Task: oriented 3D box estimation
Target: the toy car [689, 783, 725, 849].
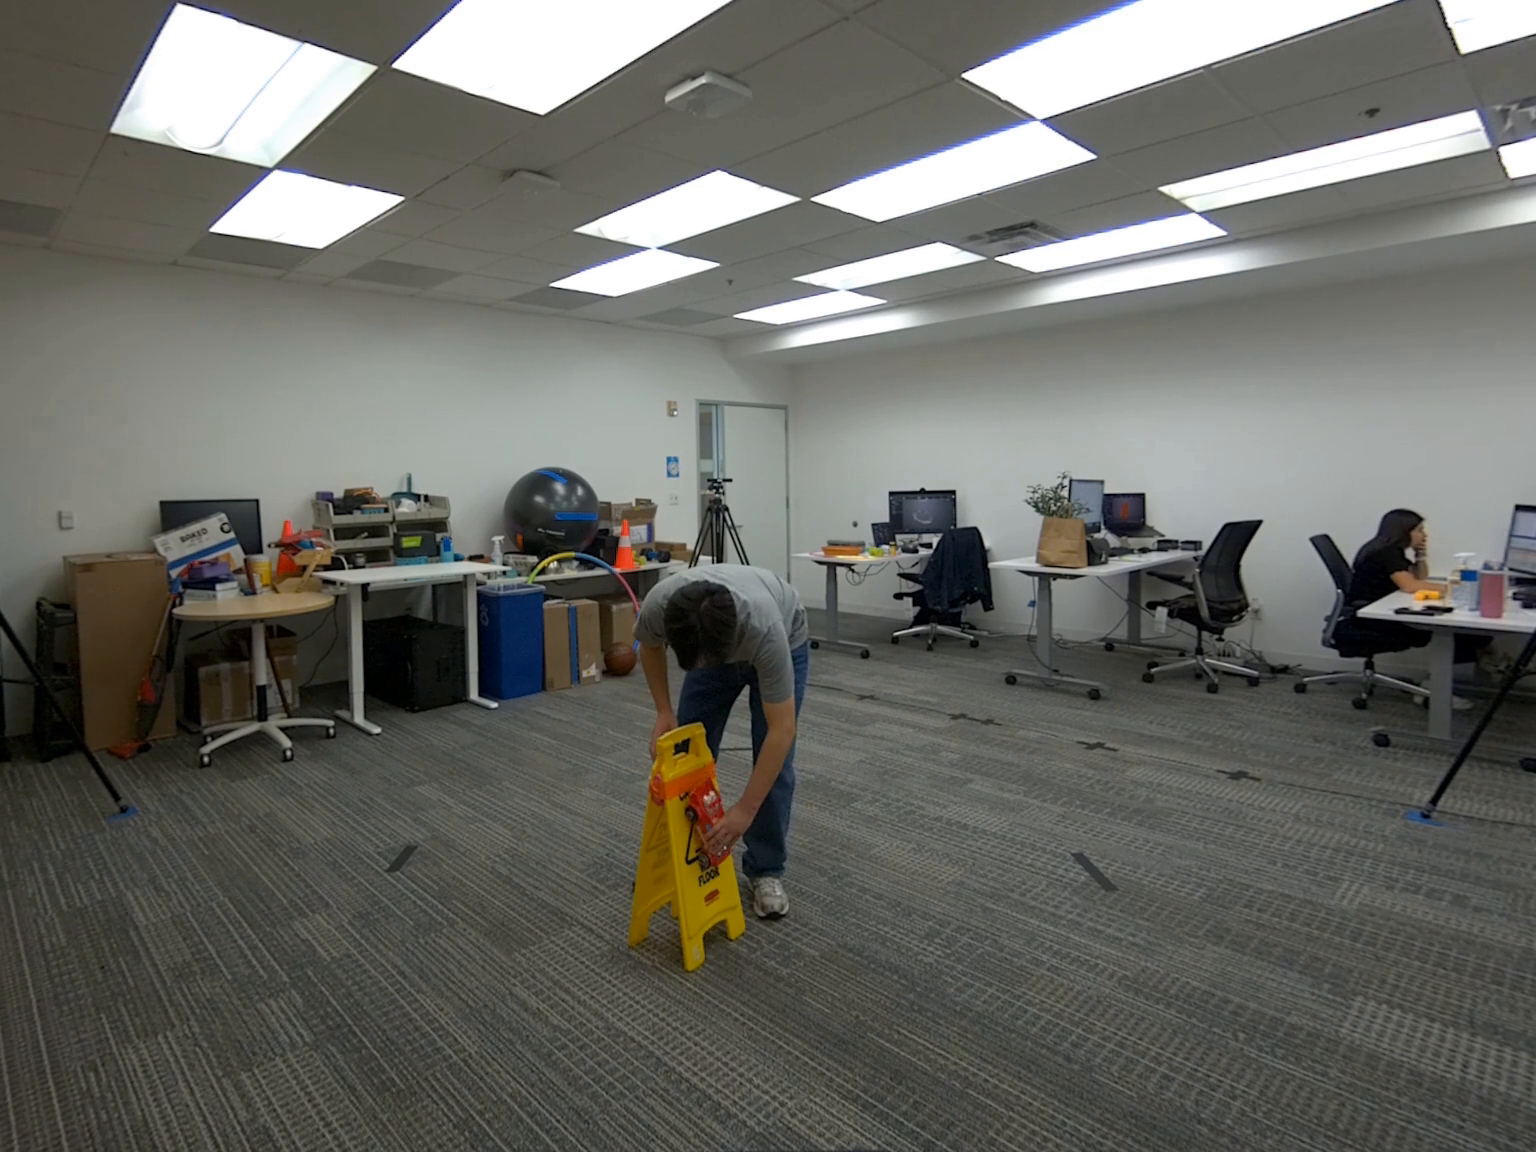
[{"bbox_3d":[-0.196,0.732,2.529,0.085,0.250,0.129,2,20,39],"label":"toy car"}]
